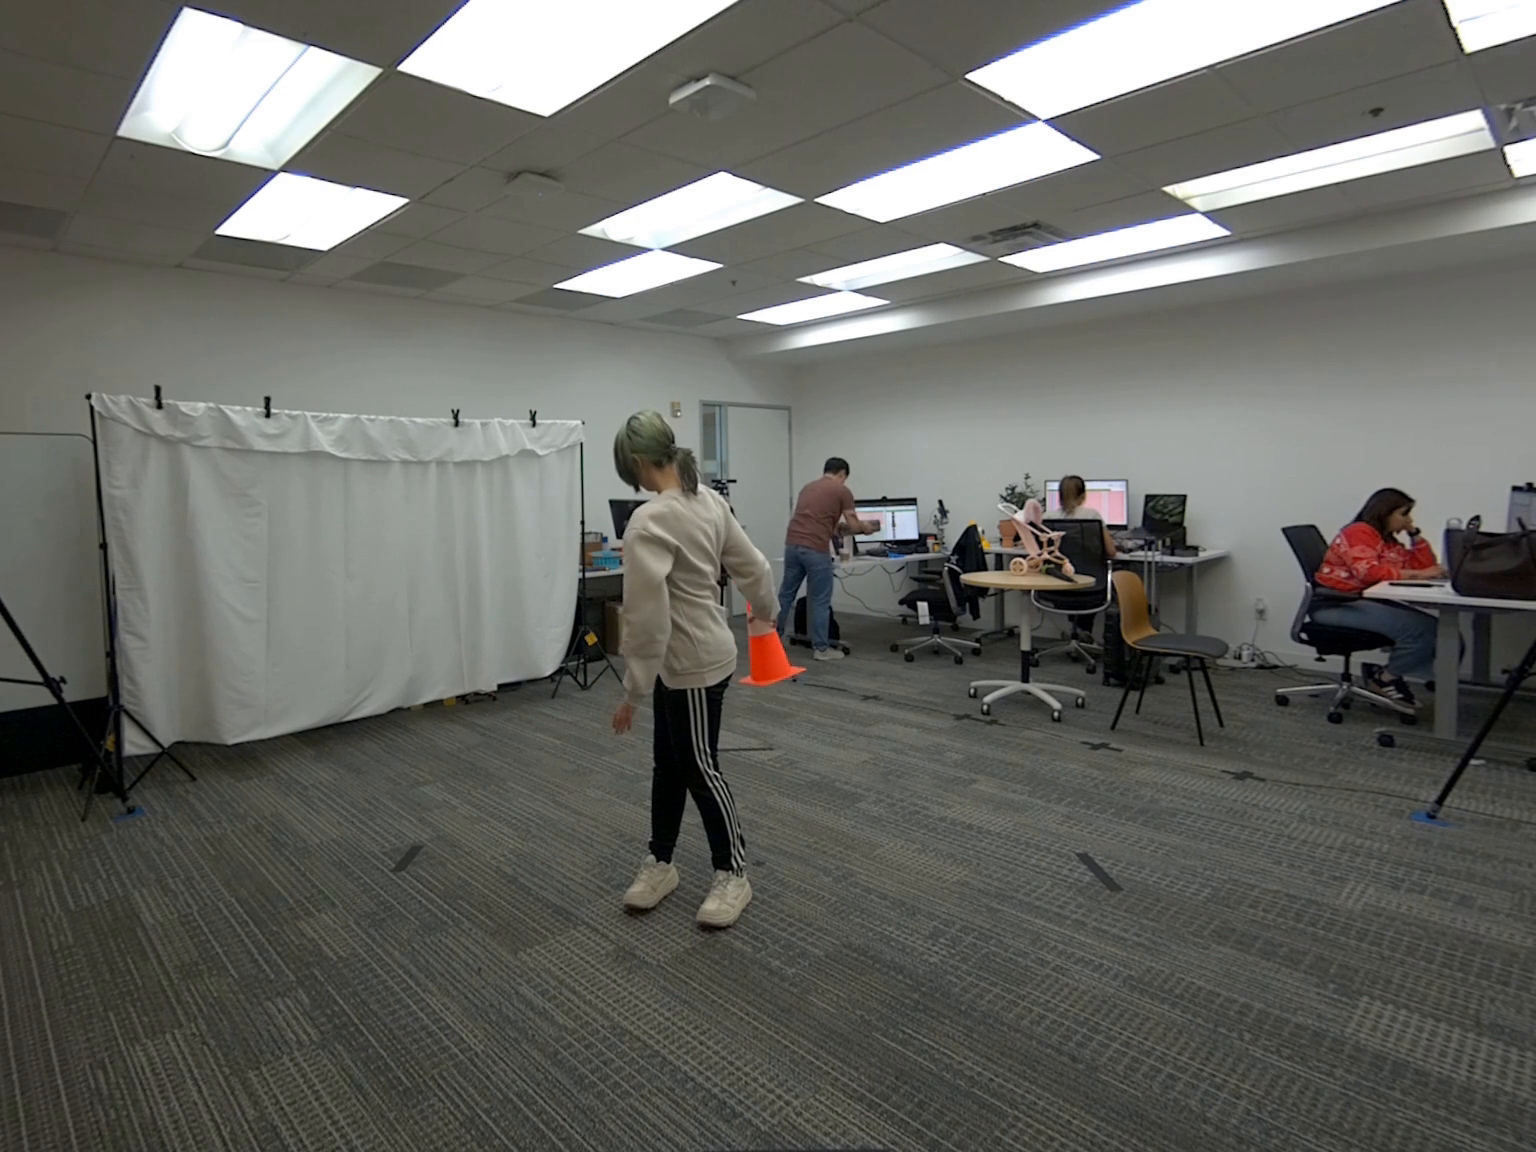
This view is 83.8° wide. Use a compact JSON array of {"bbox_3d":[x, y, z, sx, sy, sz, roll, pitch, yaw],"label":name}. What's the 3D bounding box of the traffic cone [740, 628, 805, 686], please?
[{"bbox_3d":[-0.031,0.189,3.182,0.199,0.381,0.210,-17,8,-34],"label":"traffic cone"}]
